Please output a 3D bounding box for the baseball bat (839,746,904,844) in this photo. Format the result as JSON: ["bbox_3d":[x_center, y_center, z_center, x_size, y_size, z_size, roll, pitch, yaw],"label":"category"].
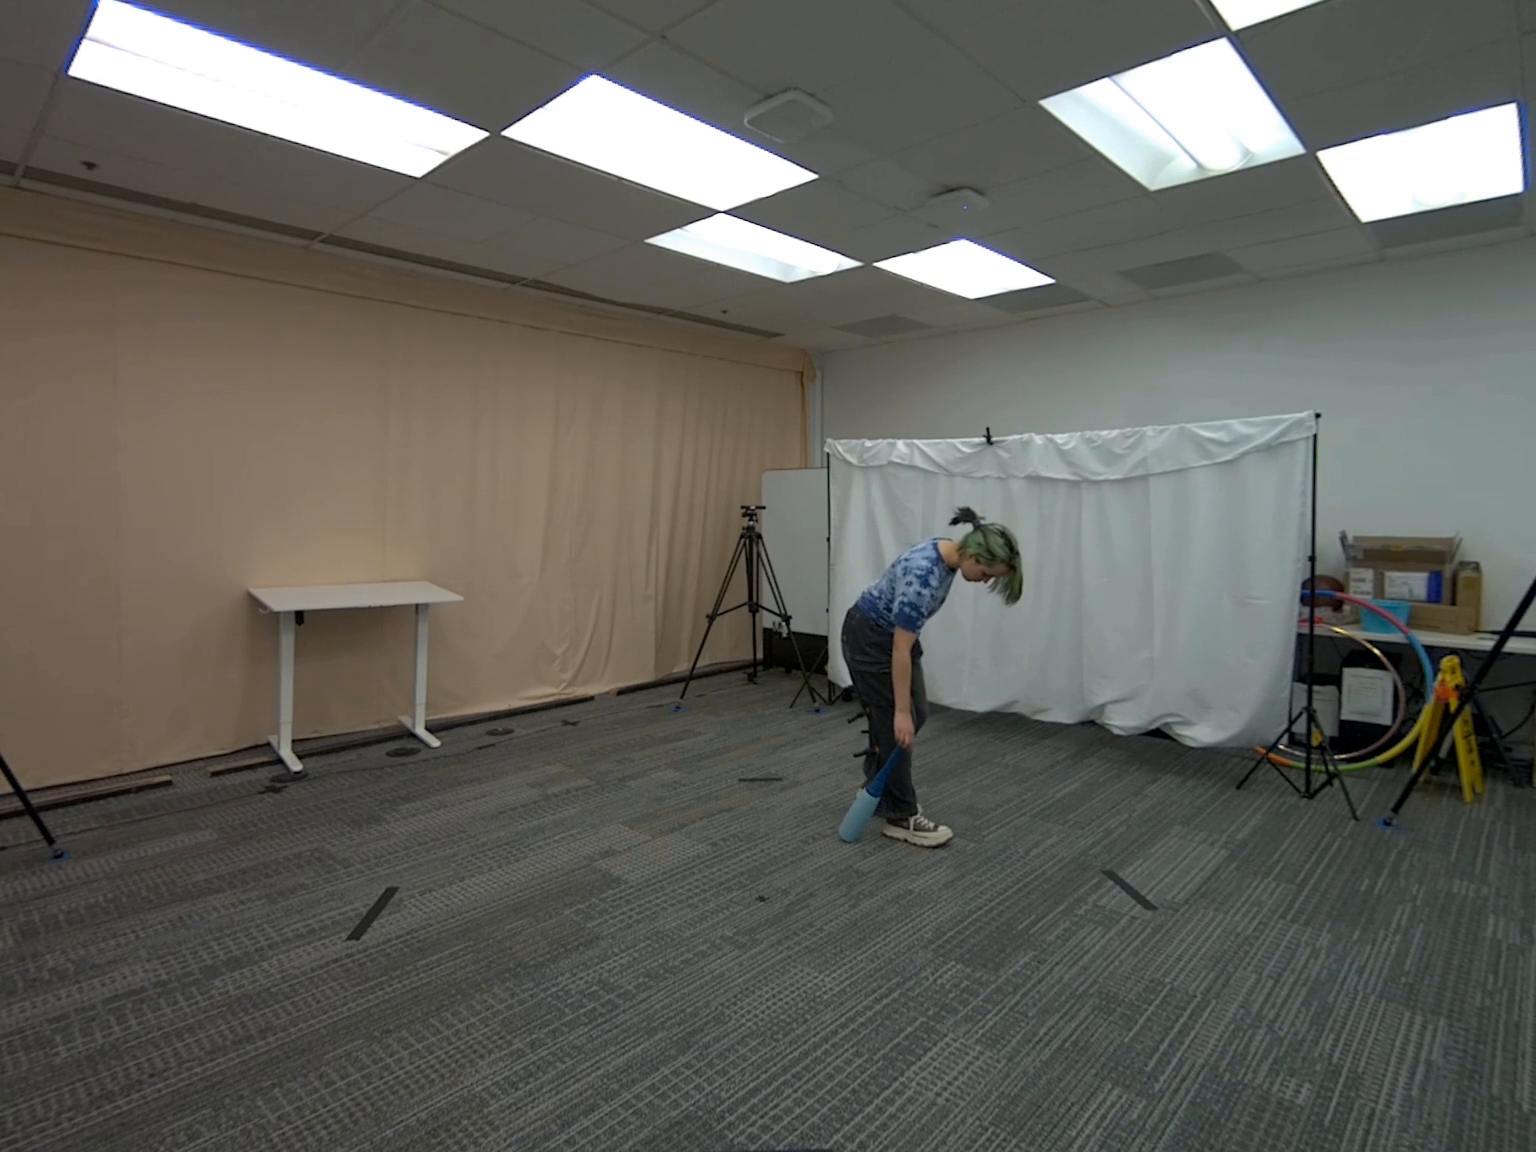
[{"bbox_3d":[0.431,0.855,3.419,0.088,0.541,0.090,20,20,-10],"label":"baseball bat"}]
